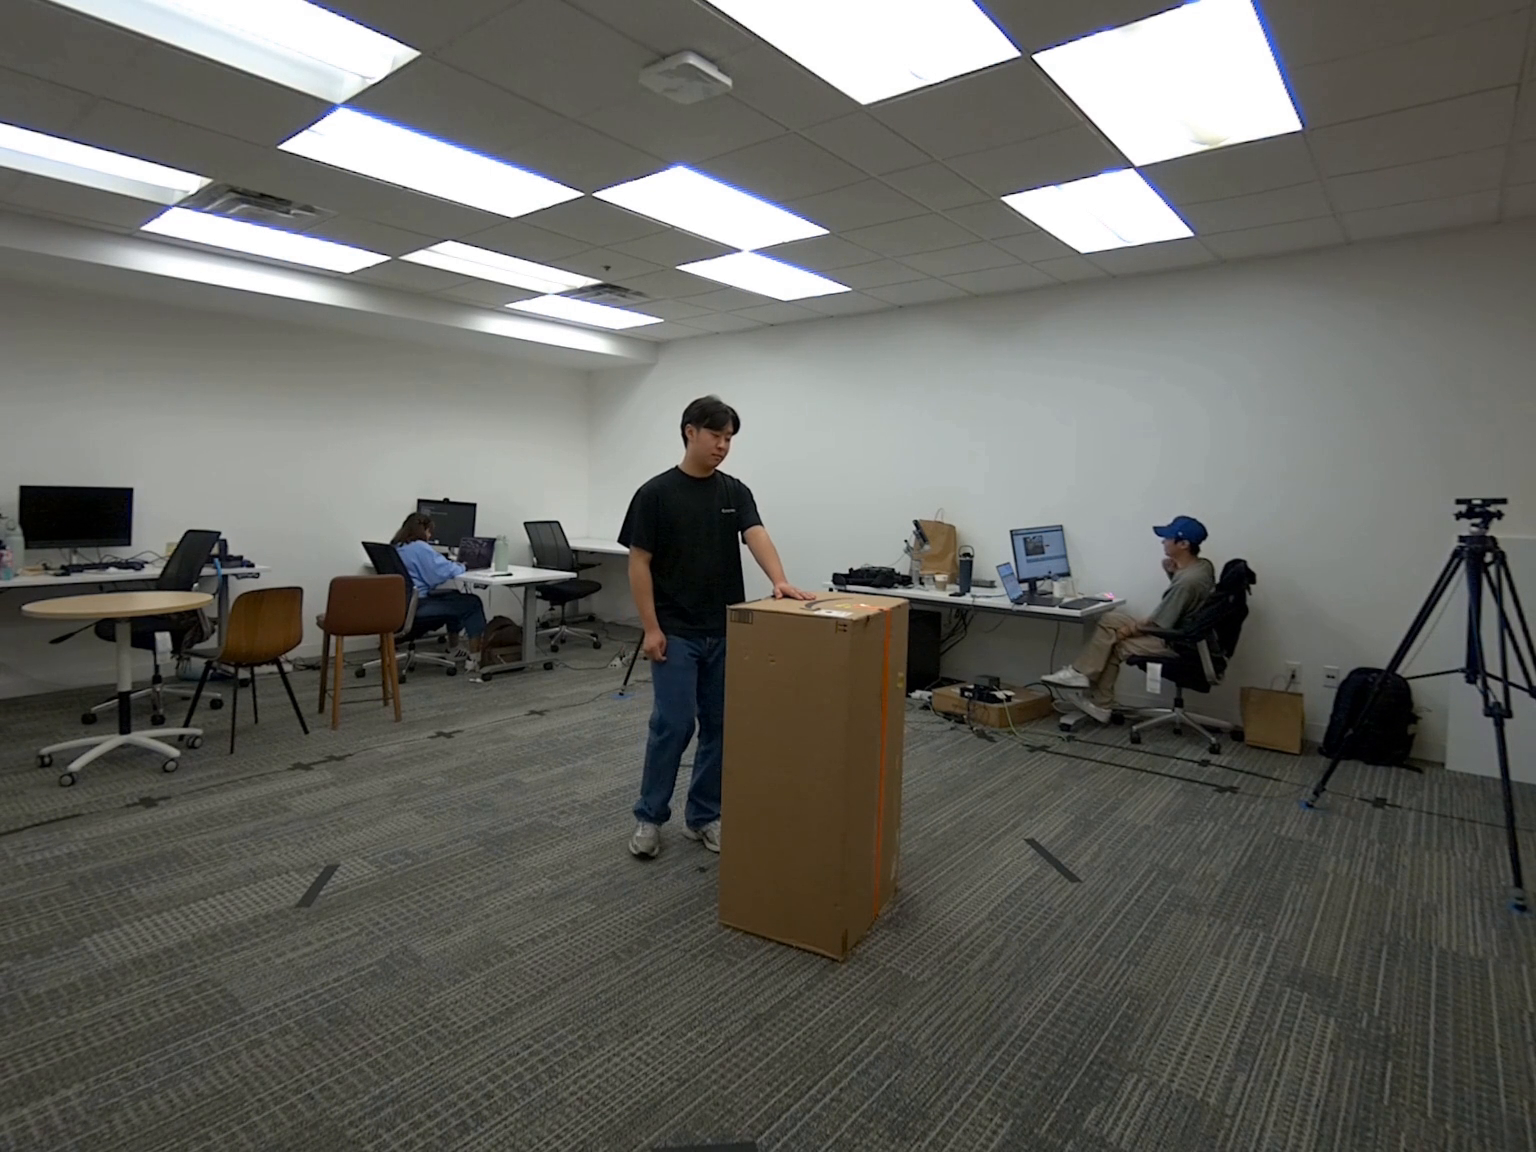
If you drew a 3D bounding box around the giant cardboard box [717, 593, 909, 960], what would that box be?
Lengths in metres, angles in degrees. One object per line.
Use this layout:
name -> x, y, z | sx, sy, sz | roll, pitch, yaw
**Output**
giant cardboard box -> 0.161, 0.591, 2.835 | 0.460, 1.024, 0.569 | 4, 4, 28
